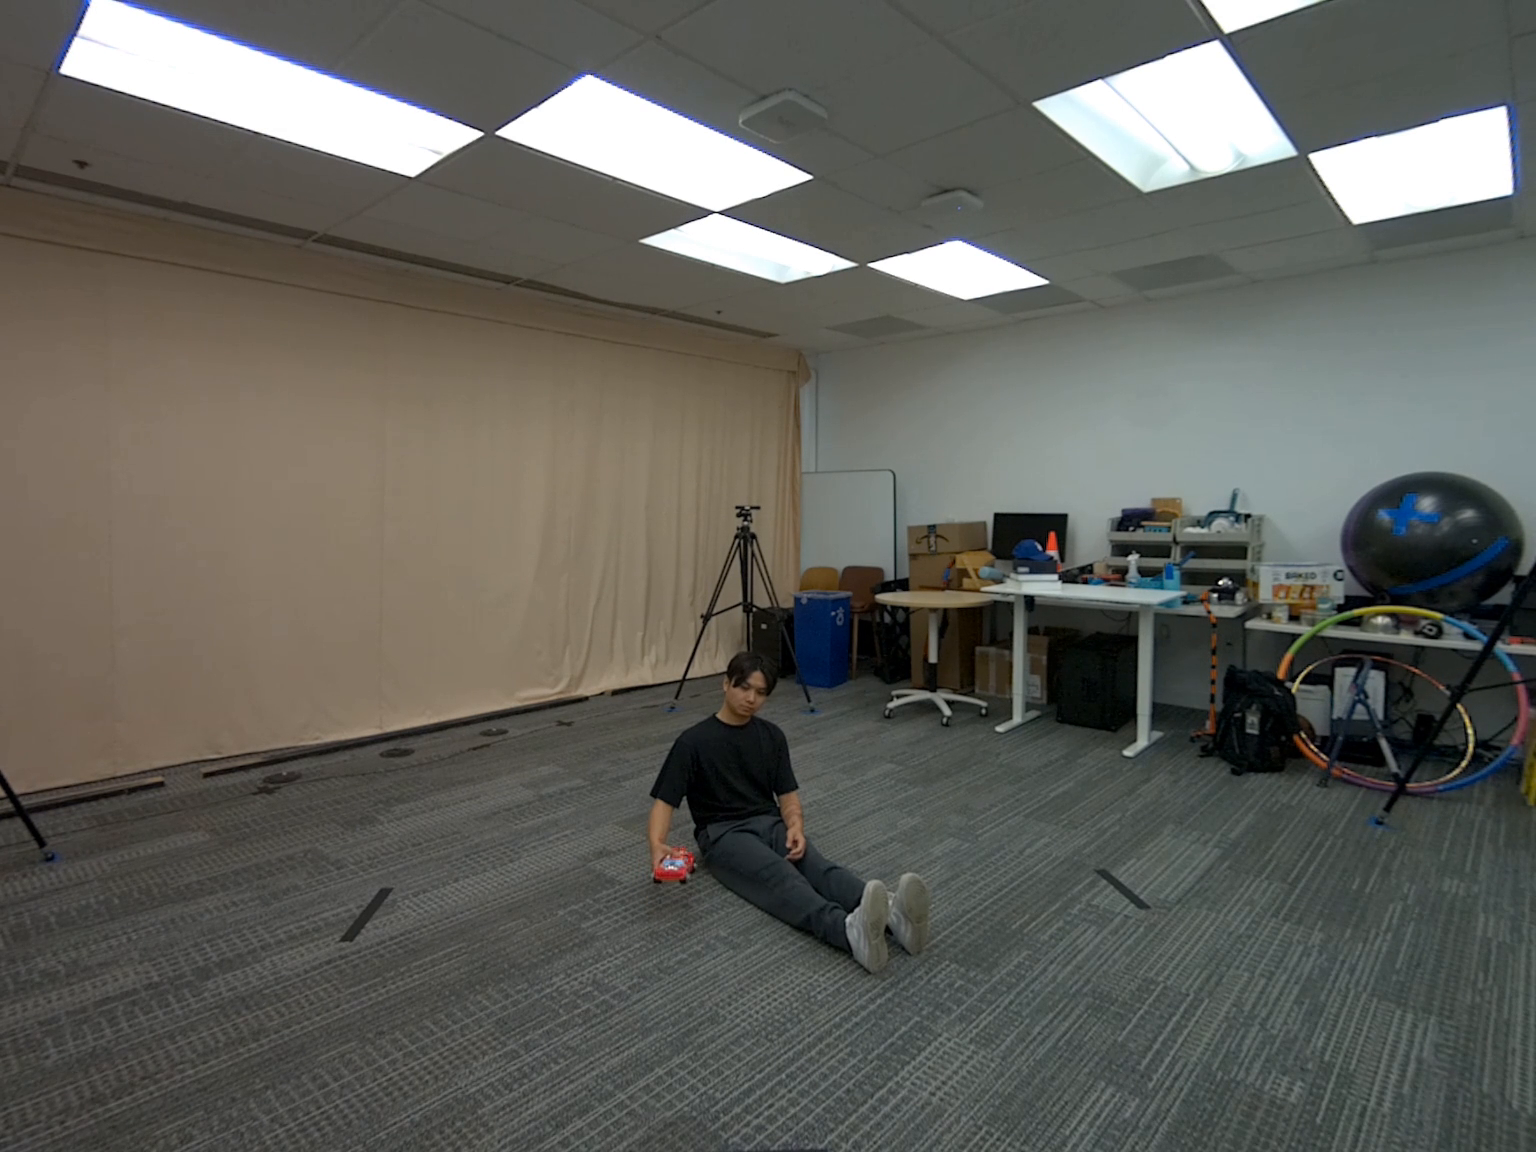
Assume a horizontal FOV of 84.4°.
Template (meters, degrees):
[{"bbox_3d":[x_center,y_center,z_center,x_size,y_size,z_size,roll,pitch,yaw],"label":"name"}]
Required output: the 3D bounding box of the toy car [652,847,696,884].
[{"bbox_3d":[-0.306,0.989,2.878,0.131,0.083,0.253,-3,5,7],"label":"toy car"}]
